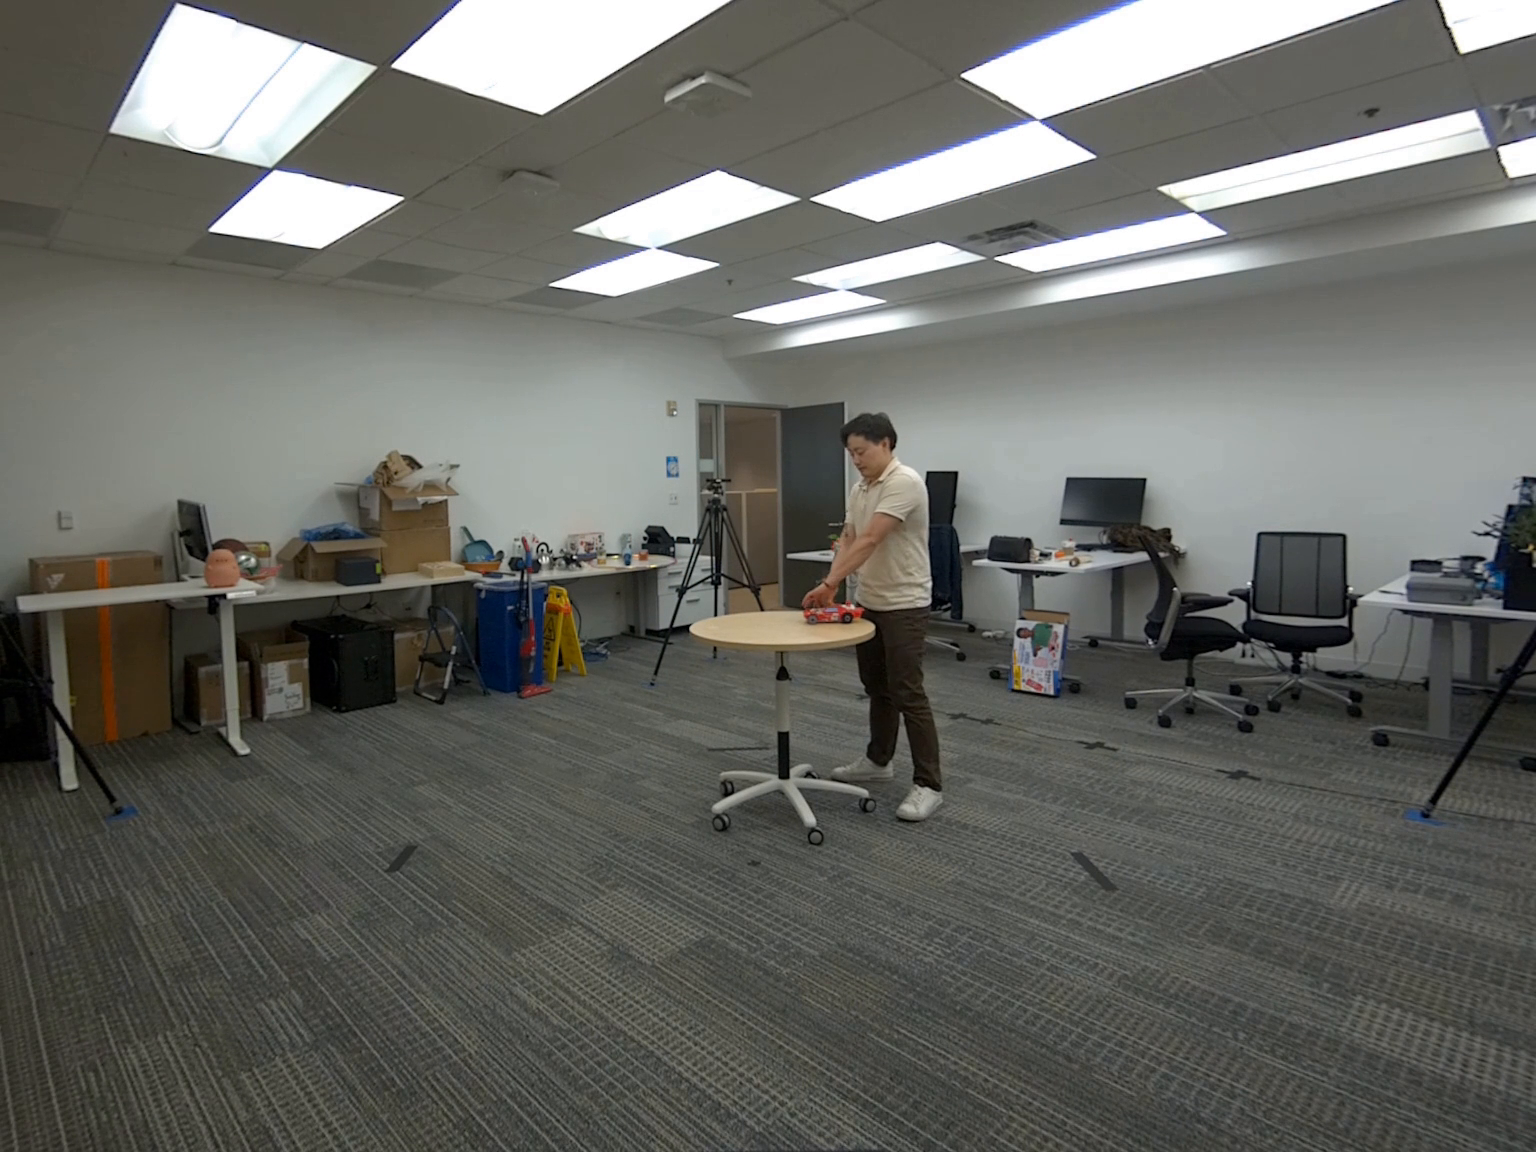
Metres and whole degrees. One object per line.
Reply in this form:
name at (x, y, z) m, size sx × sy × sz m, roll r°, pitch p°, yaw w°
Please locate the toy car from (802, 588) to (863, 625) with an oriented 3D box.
toy car at (0.281, 0.165, 3.616) m, size 0.255 × 0.083 × 0.131 m, roll -12°, pitch 6°, yaw 2°
